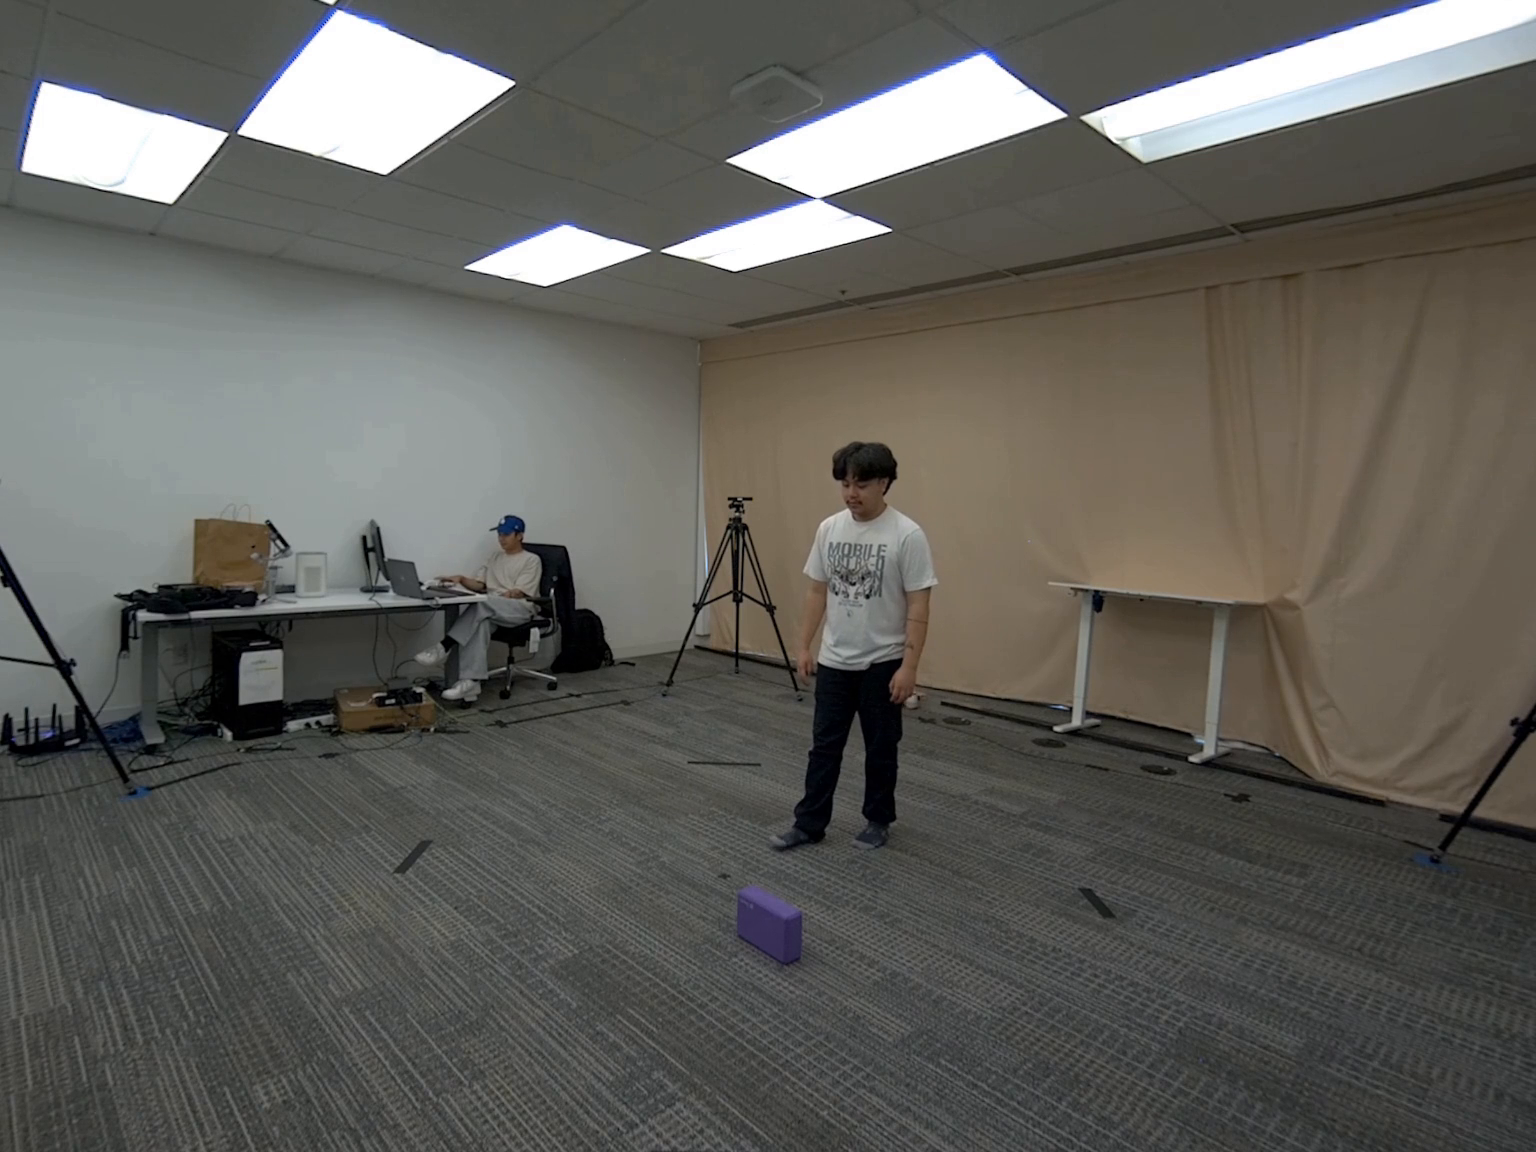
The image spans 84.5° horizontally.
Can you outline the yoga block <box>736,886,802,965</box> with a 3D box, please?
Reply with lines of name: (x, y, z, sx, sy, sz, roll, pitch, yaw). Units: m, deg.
yoga block: (-0.004, 1.080, 2.614, 0.075, 0.148, 0.235, -1, 6, -41)
